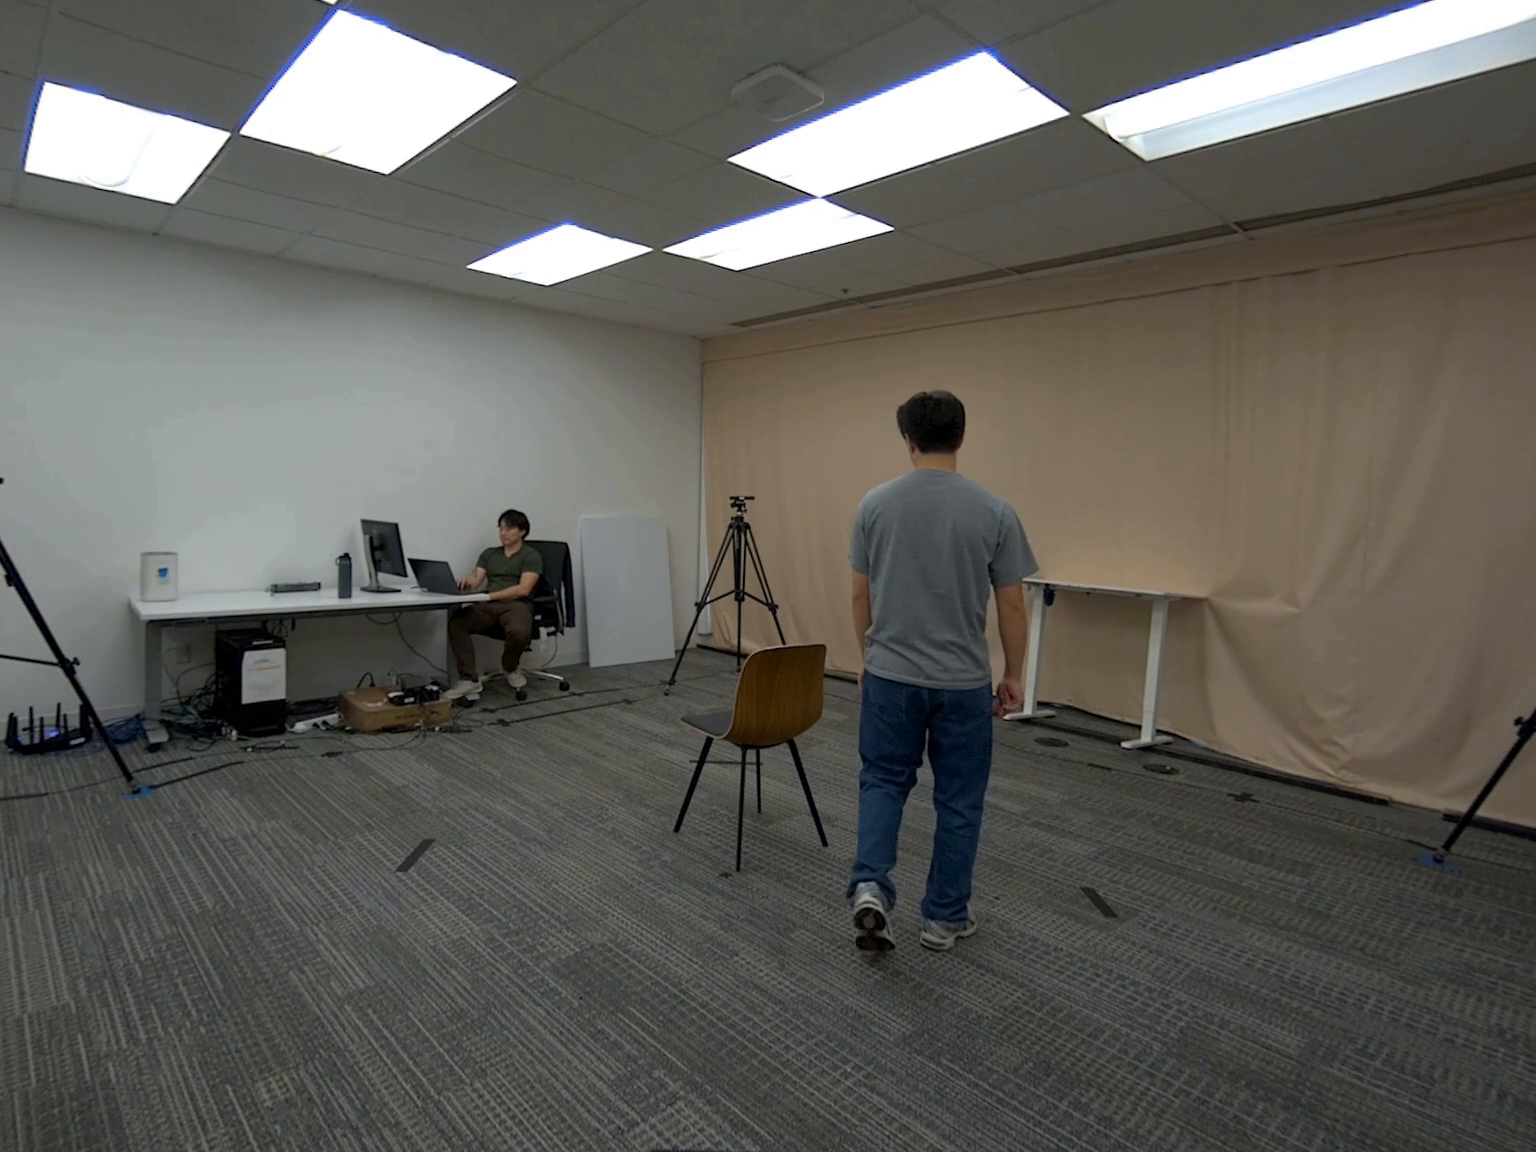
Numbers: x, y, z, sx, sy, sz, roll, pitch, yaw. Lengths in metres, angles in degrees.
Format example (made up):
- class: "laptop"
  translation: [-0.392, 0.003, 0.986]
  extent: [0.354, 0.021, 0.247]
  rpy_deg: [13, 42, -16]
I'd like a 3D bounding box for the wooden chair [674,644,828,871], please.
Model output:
- class: "wooden chair"
  translation: [-0.076, 0.651, 3.419]
  extent: [0.467, 0.873, 0.537]
  rpy_deg: [-1, 9, -37]
